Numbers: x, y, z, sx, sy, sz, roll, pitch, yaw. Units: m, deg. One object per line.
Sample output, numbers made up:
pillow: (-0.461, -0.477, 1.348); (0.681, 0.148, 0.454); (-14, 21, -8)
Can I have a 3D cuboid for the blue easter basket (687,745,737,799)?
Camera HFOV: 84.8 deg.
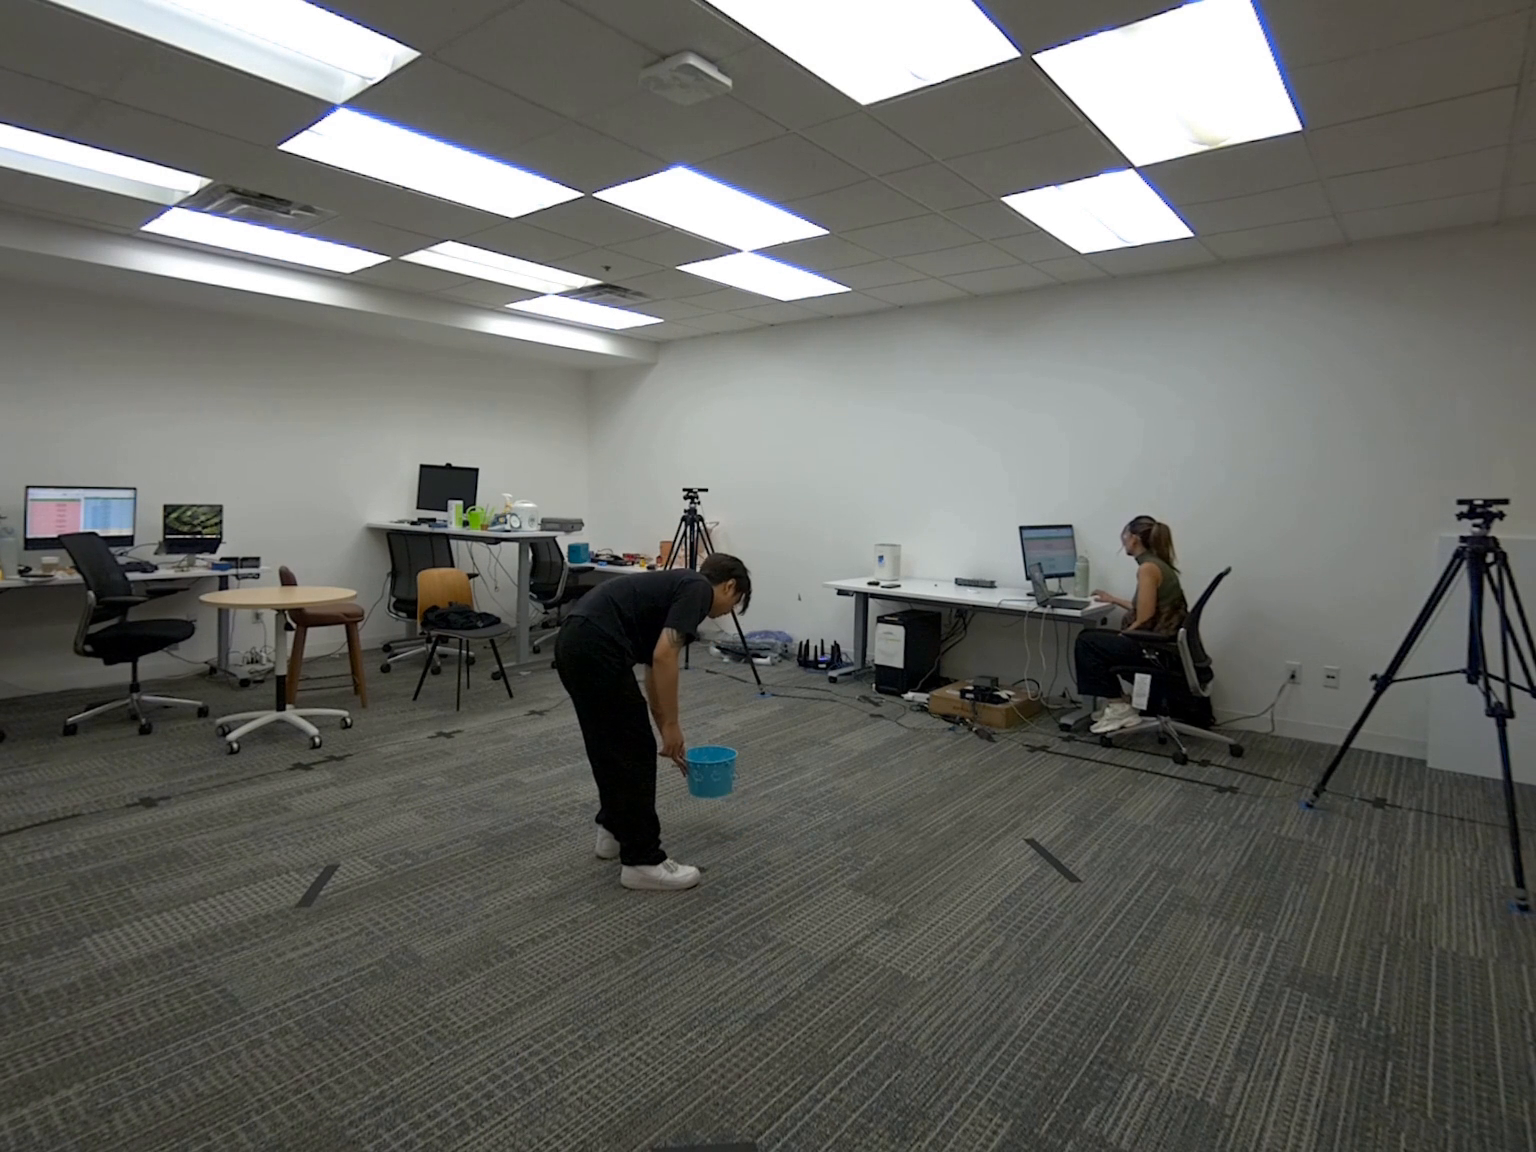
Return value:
blue easter basket: (-0.241, 0.803, 3.498); (0.243, 0.155, 0.245); (-1, 6, -2)
